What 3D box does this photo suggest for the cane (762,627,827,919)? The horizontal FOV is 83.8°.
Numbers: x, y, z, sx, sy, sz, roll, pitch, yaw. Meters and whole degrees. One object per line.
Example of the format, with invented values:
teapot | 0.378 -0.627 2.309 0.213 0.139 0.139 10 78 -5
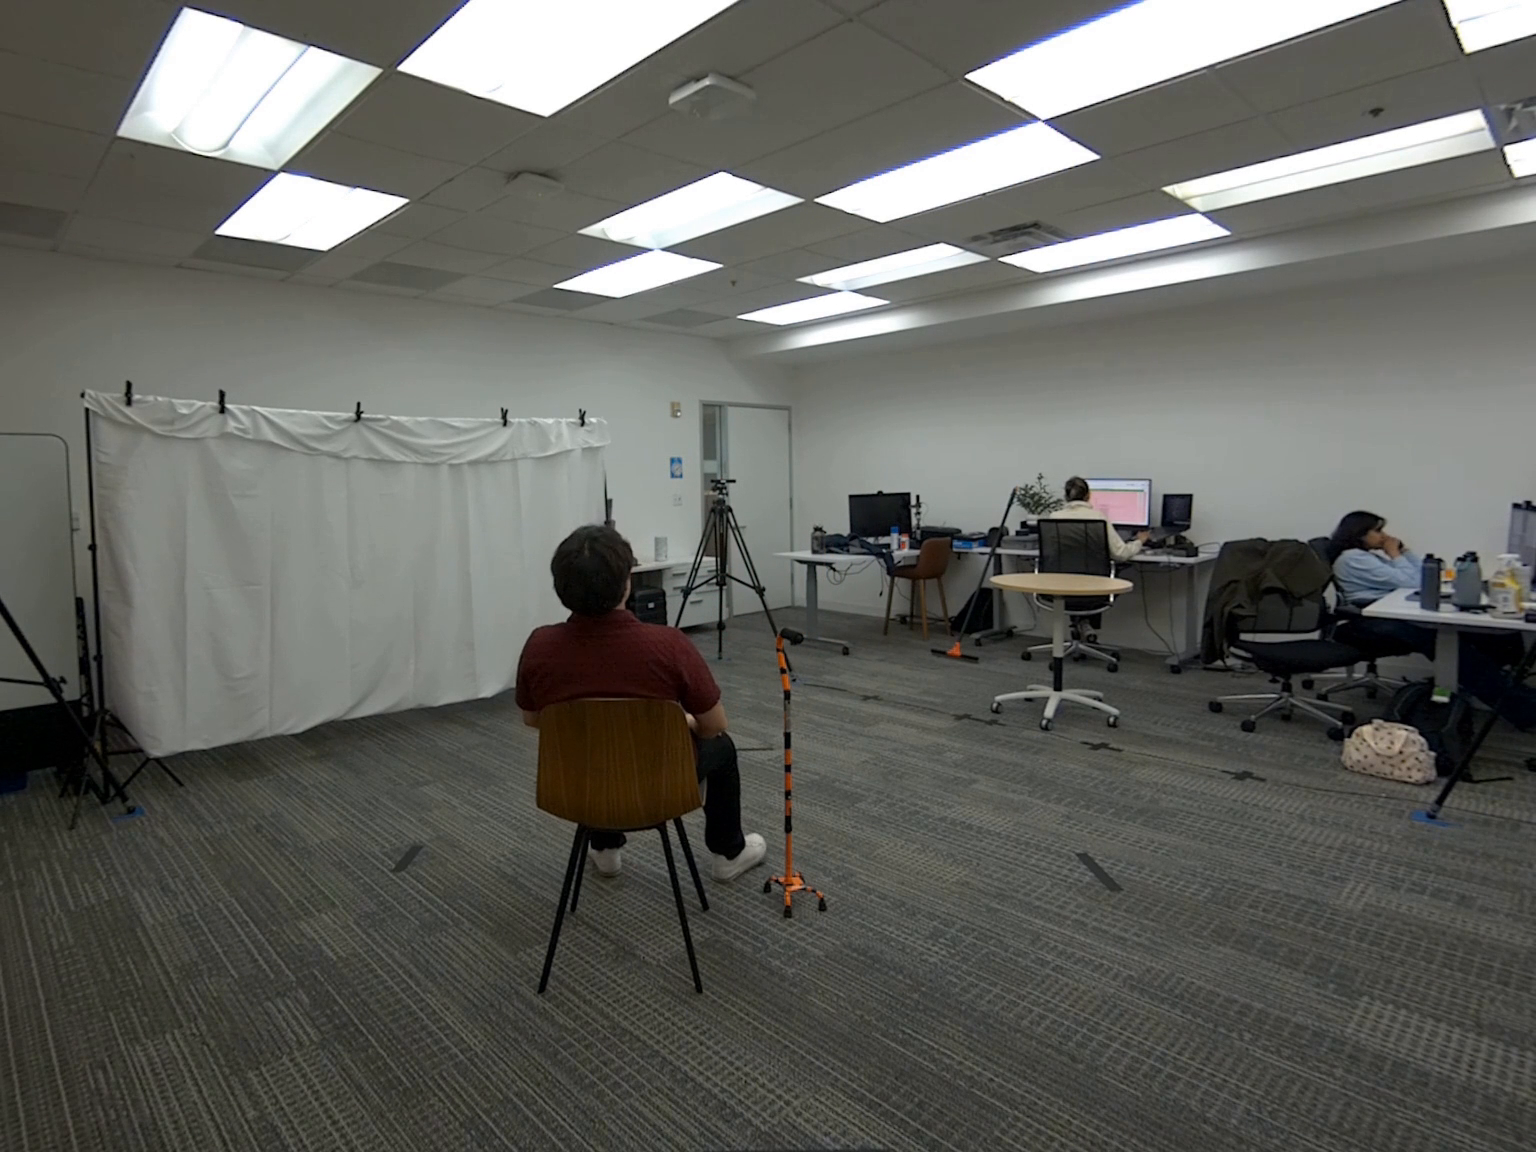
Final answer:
cane | 0.084 0.619 2.800 0.149 0.905 0.211 -3 4 -24
